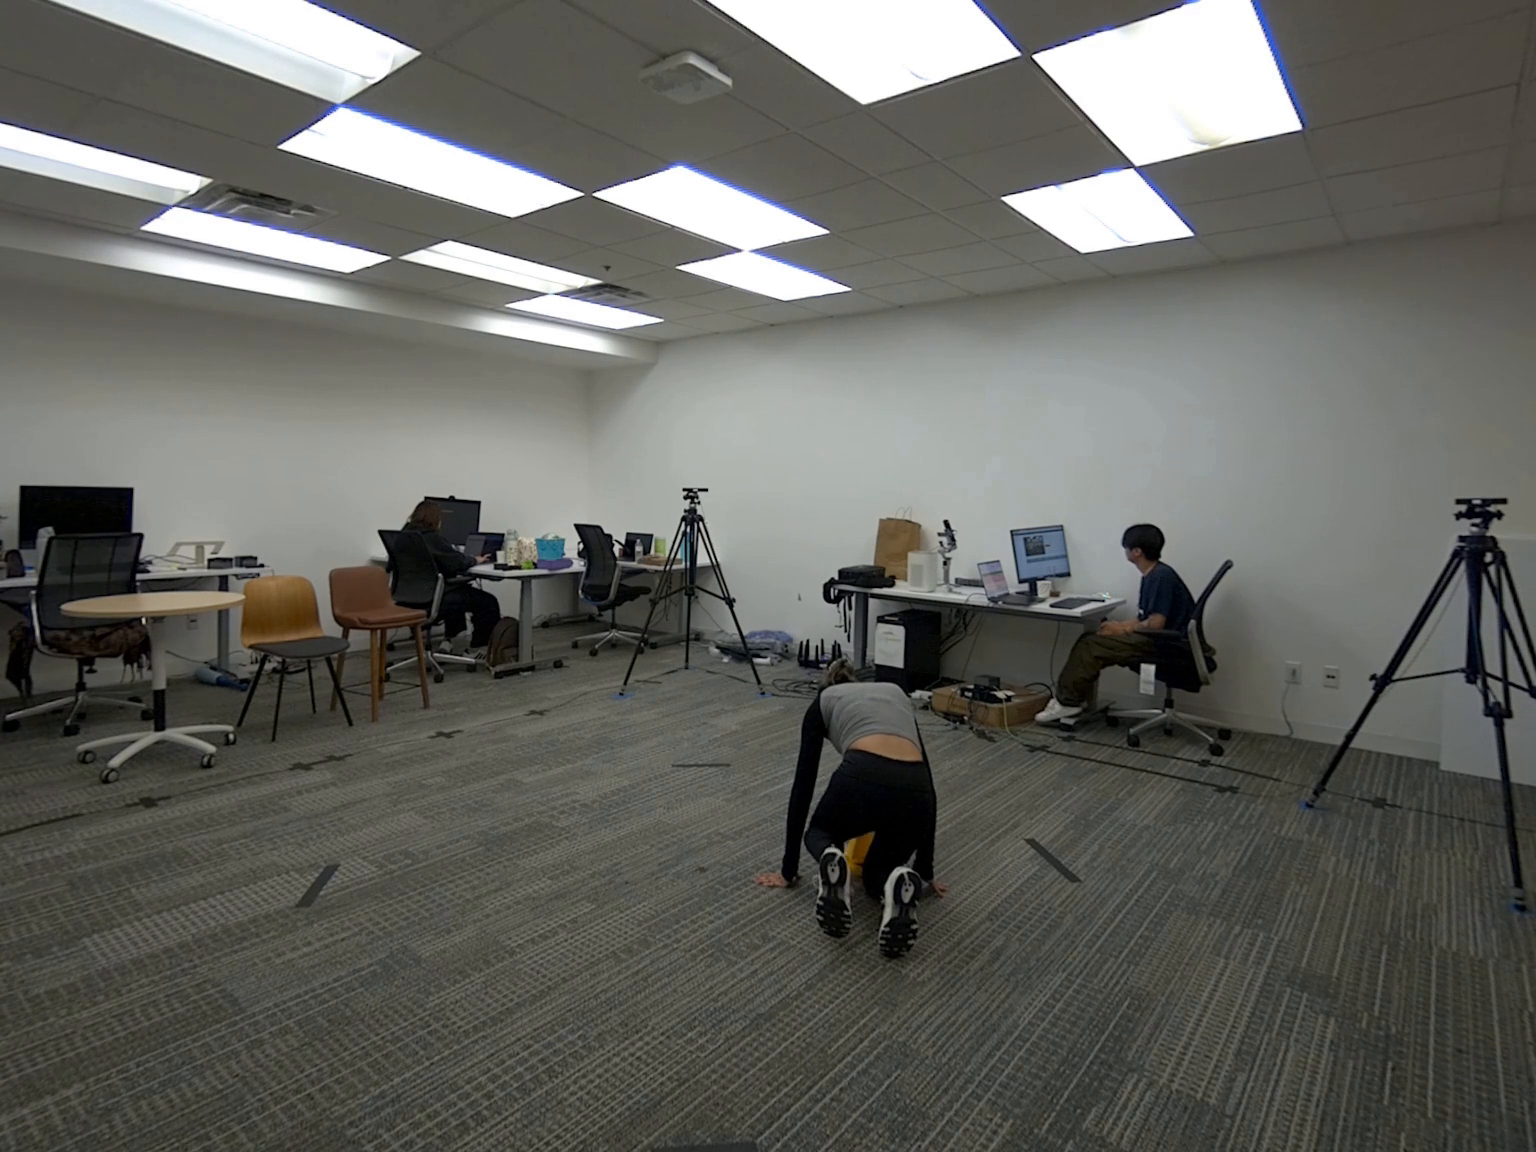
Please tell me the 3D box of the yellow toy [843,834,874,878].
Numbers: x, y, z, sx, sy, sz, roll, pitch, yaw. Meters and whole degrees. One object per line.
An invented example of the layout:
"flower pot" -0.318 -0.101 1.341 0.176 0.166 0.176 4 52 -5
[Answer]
"yellow toy" 0.337 0.961 3.156 0.199 0.230 0.199 -1 5 -28
